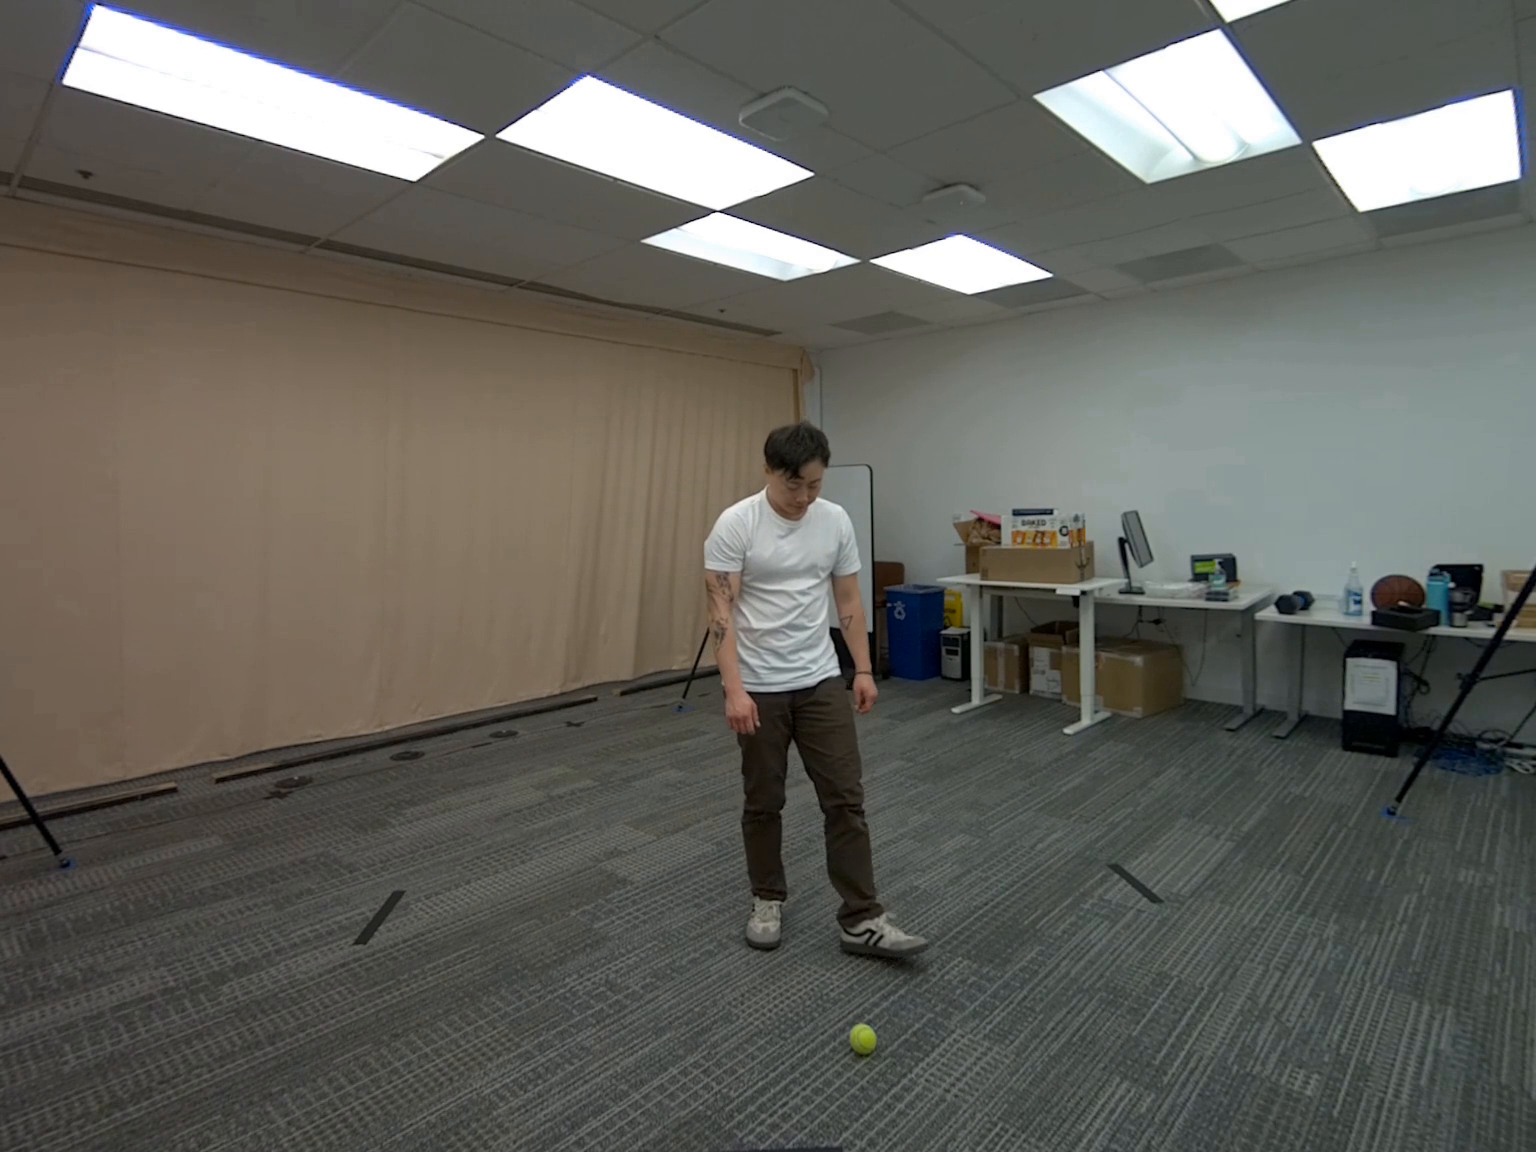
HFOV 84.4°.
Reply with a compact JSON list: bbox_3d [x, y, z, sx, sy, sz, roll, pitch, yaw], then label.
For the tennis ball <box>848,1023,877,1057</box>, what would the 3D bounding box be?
[{"bbox_3d":[0.240,1.163,2.146,0.066,0.066,0.067,-1,4,-2],"label":"tennis ball"}]
